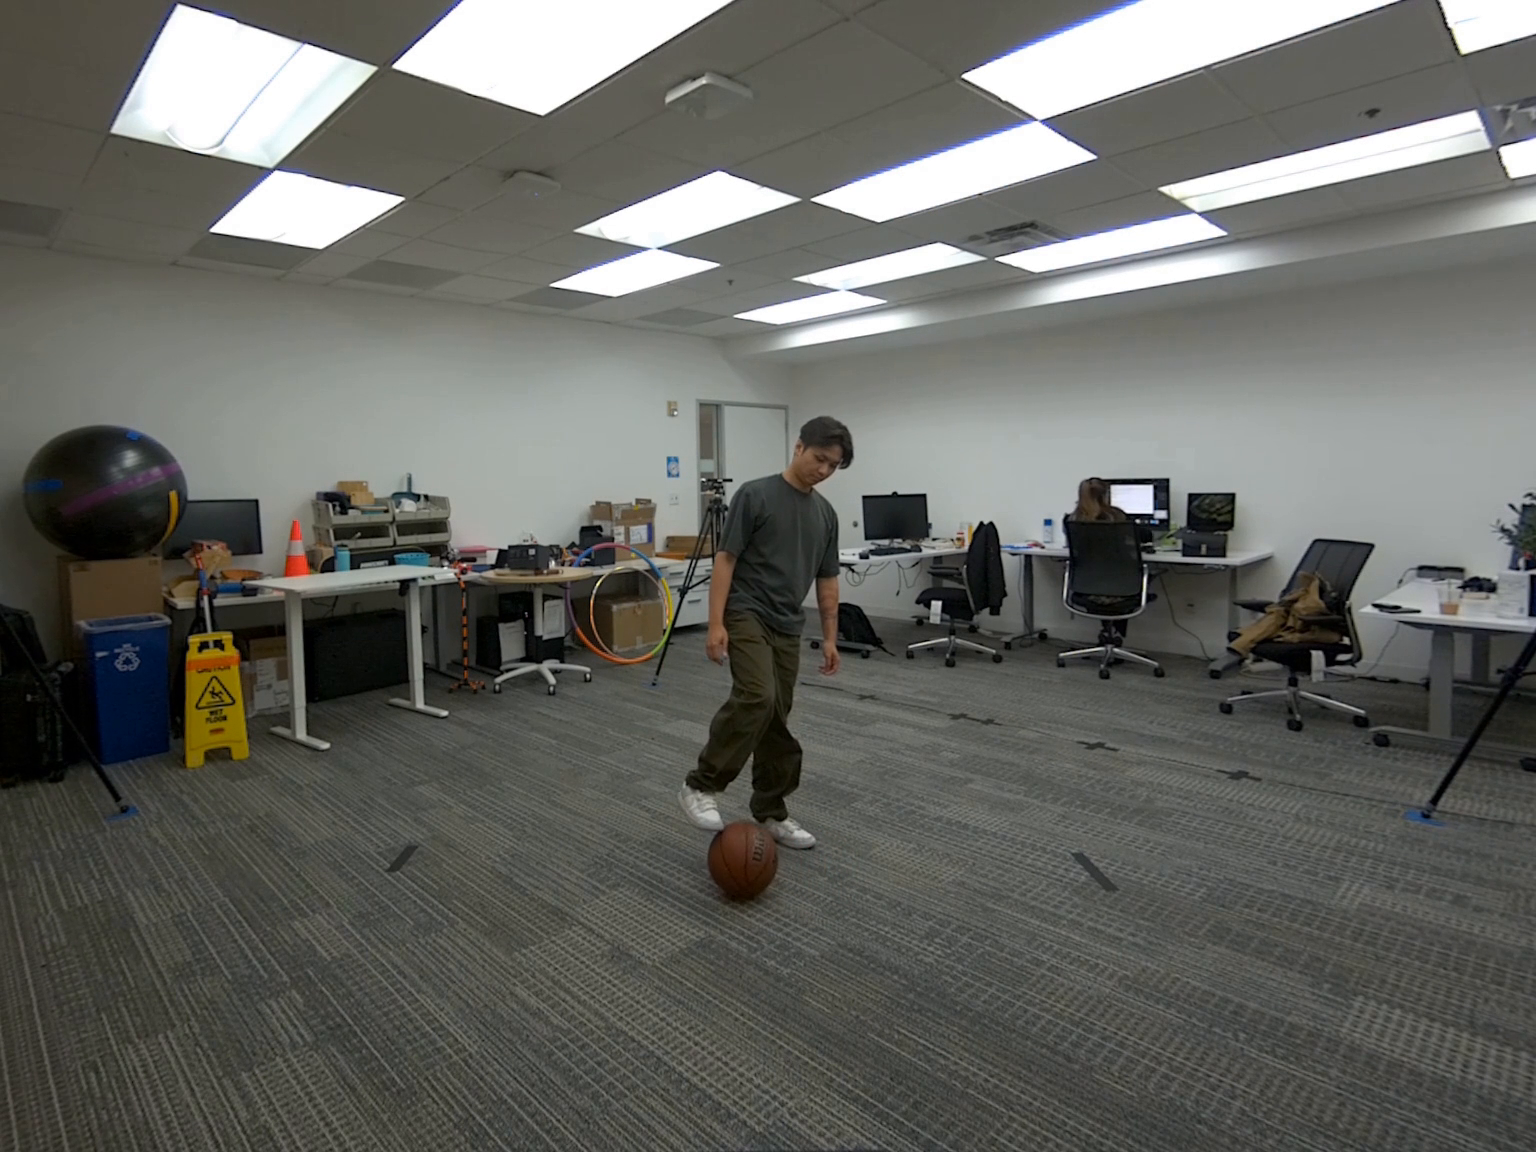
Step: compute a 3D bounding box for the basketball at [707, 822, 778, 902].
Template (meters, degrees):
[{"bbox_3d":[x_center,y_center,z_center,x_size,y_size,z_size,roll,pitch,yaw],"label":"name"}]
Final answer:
[{"bbox_3d":[-0.082,0.953,2.872,0.236,0.235,0.237,-1,5,-2],"label":"basketball"}]
